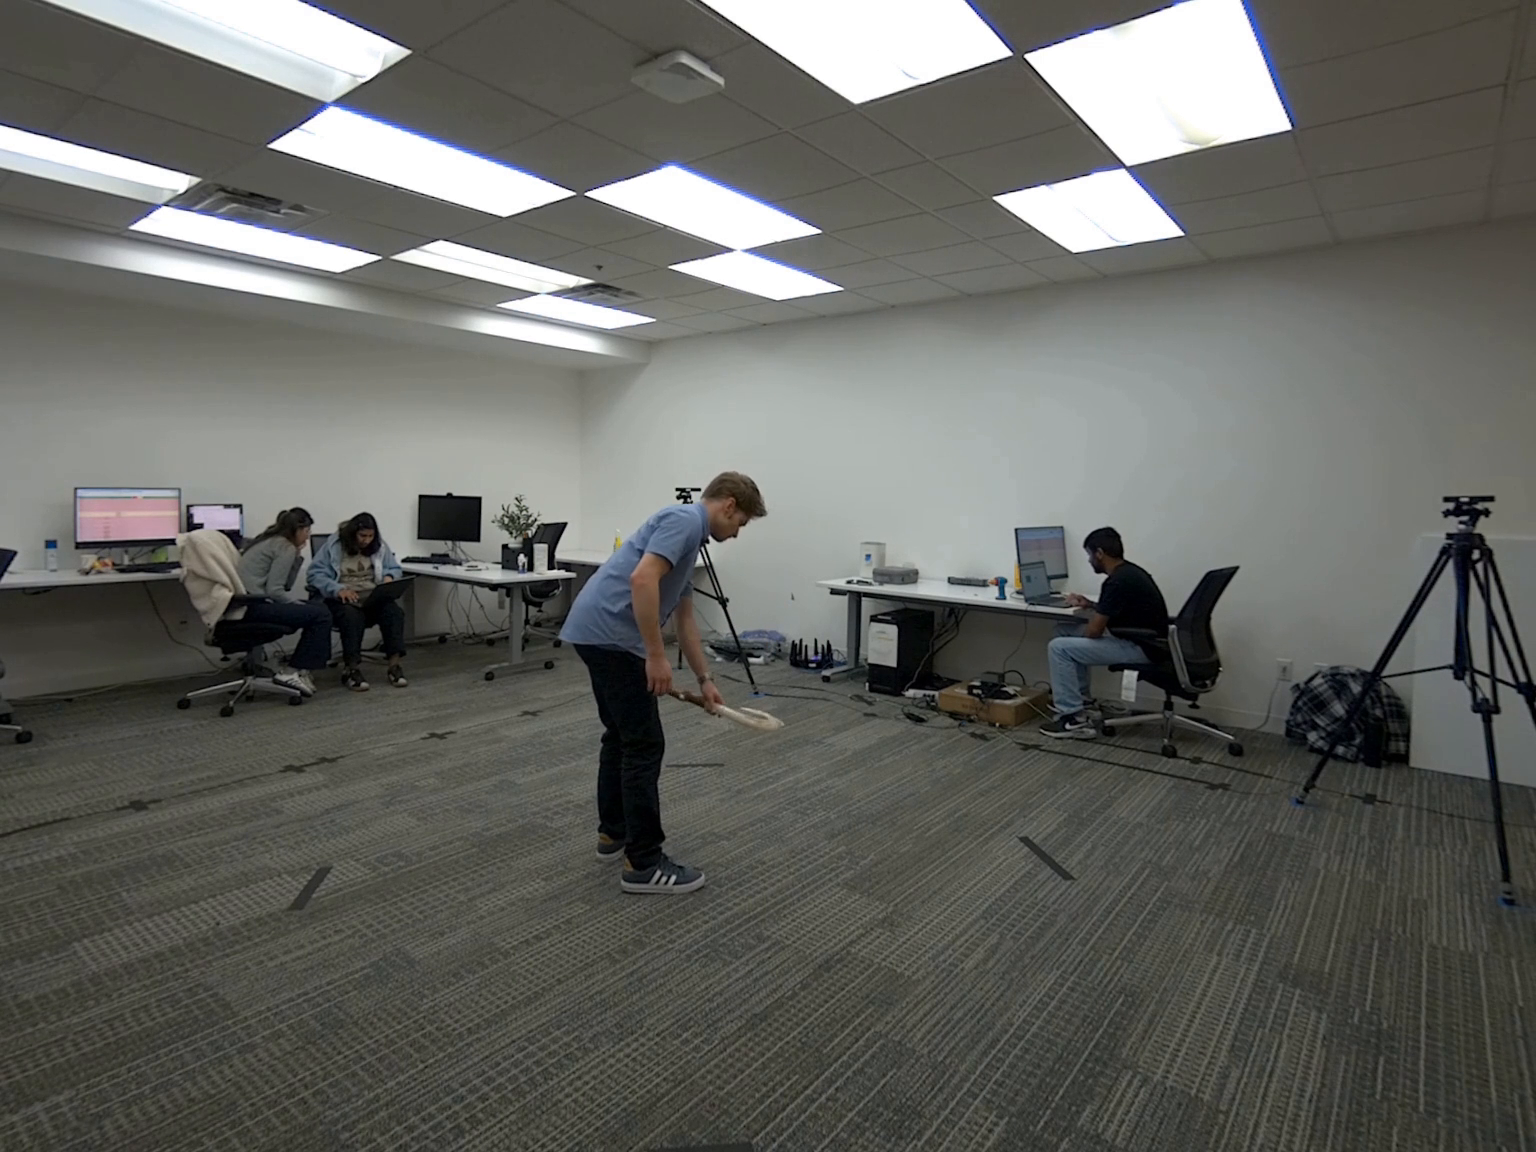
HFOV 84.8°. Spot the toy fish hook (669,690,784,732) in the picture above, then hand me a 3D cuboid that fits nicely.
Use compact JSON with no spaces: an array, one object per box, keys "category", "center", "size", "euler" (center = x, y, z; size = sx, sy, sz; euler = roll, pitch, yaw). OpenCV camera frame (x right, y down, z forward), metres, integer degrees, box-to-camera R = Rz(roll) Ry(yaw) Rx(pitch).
[{"category":"toy fish hook","center":[-0.213,0.536,3.384],"size":[0.517,0.048,0.220],"euler":[16,0,16]}]
